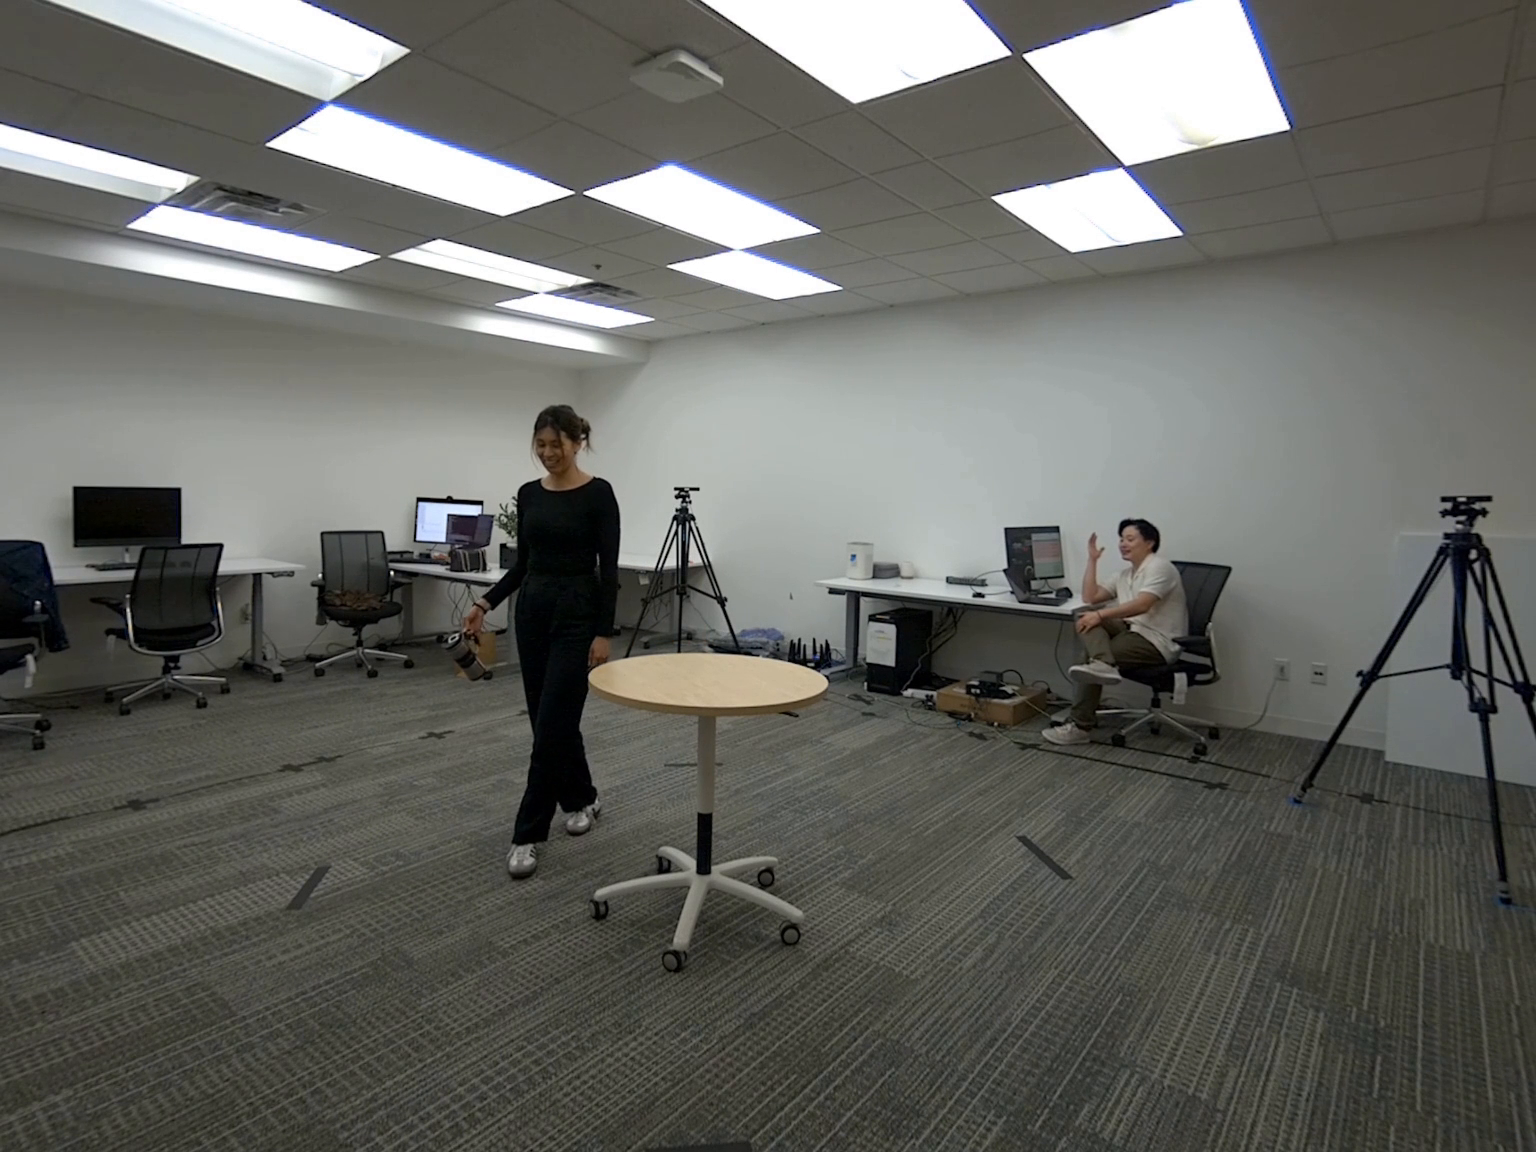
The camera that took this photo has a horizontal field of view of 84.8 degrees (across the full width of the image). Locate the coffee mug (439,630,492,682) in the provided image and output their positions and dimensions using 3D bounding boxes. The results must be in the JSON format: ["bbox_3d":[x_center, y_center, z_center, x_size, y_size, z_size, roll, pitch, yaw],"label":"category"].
[{"bbox_3d":[-1.158,0.296,3.234,0.121,0.196,0.091,-35,33,-9],"label":"coffee mug"}]
